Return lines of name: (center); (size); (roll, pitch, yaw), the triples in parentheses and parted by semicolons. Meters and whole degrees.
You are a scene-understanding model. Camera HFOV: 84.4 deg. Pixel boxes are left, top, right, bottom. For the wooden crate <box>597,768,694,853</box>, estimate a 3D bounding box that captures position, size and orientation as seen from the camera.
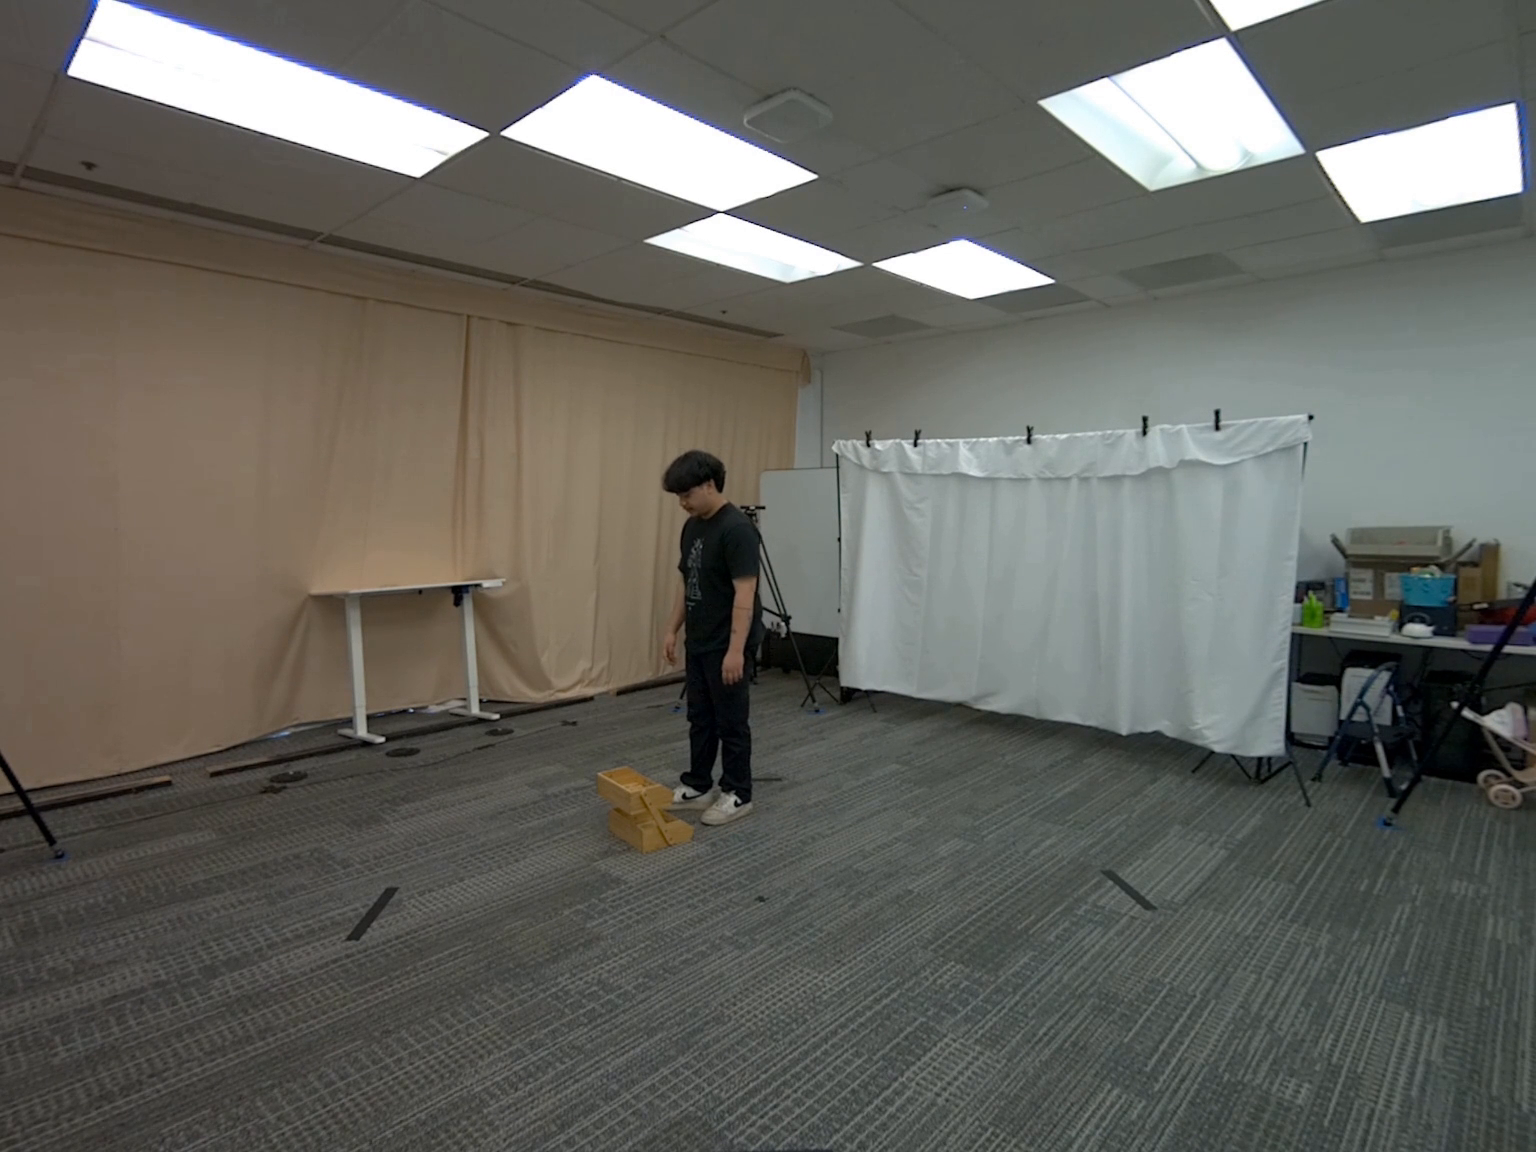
wooden crate: (-0.521, 0.968, 3.559); (0.293, 0.273, 0.335); (-4, 5, -36)
